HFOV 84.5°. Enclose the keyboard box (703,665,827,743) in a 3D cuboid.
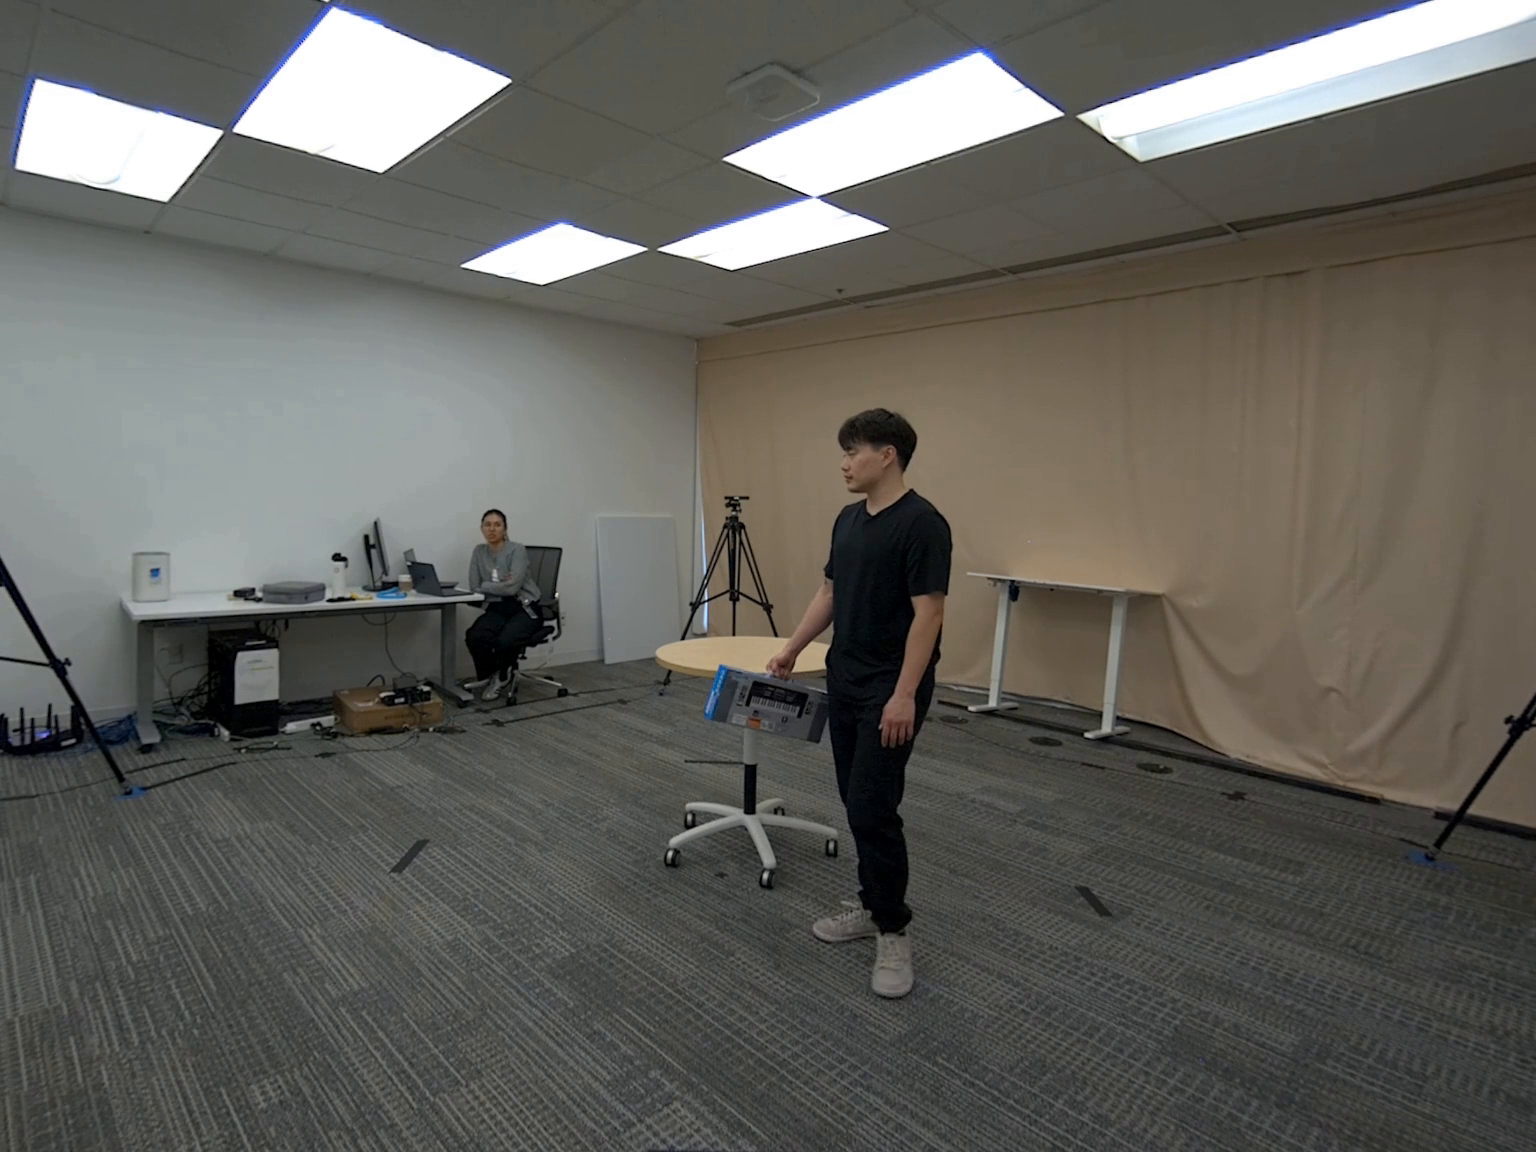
[{"bbox_3d":[0.010,0.429,2.768,0.426,0.176,0.060,18,-2,-30],"label":"keyboard box"}]
